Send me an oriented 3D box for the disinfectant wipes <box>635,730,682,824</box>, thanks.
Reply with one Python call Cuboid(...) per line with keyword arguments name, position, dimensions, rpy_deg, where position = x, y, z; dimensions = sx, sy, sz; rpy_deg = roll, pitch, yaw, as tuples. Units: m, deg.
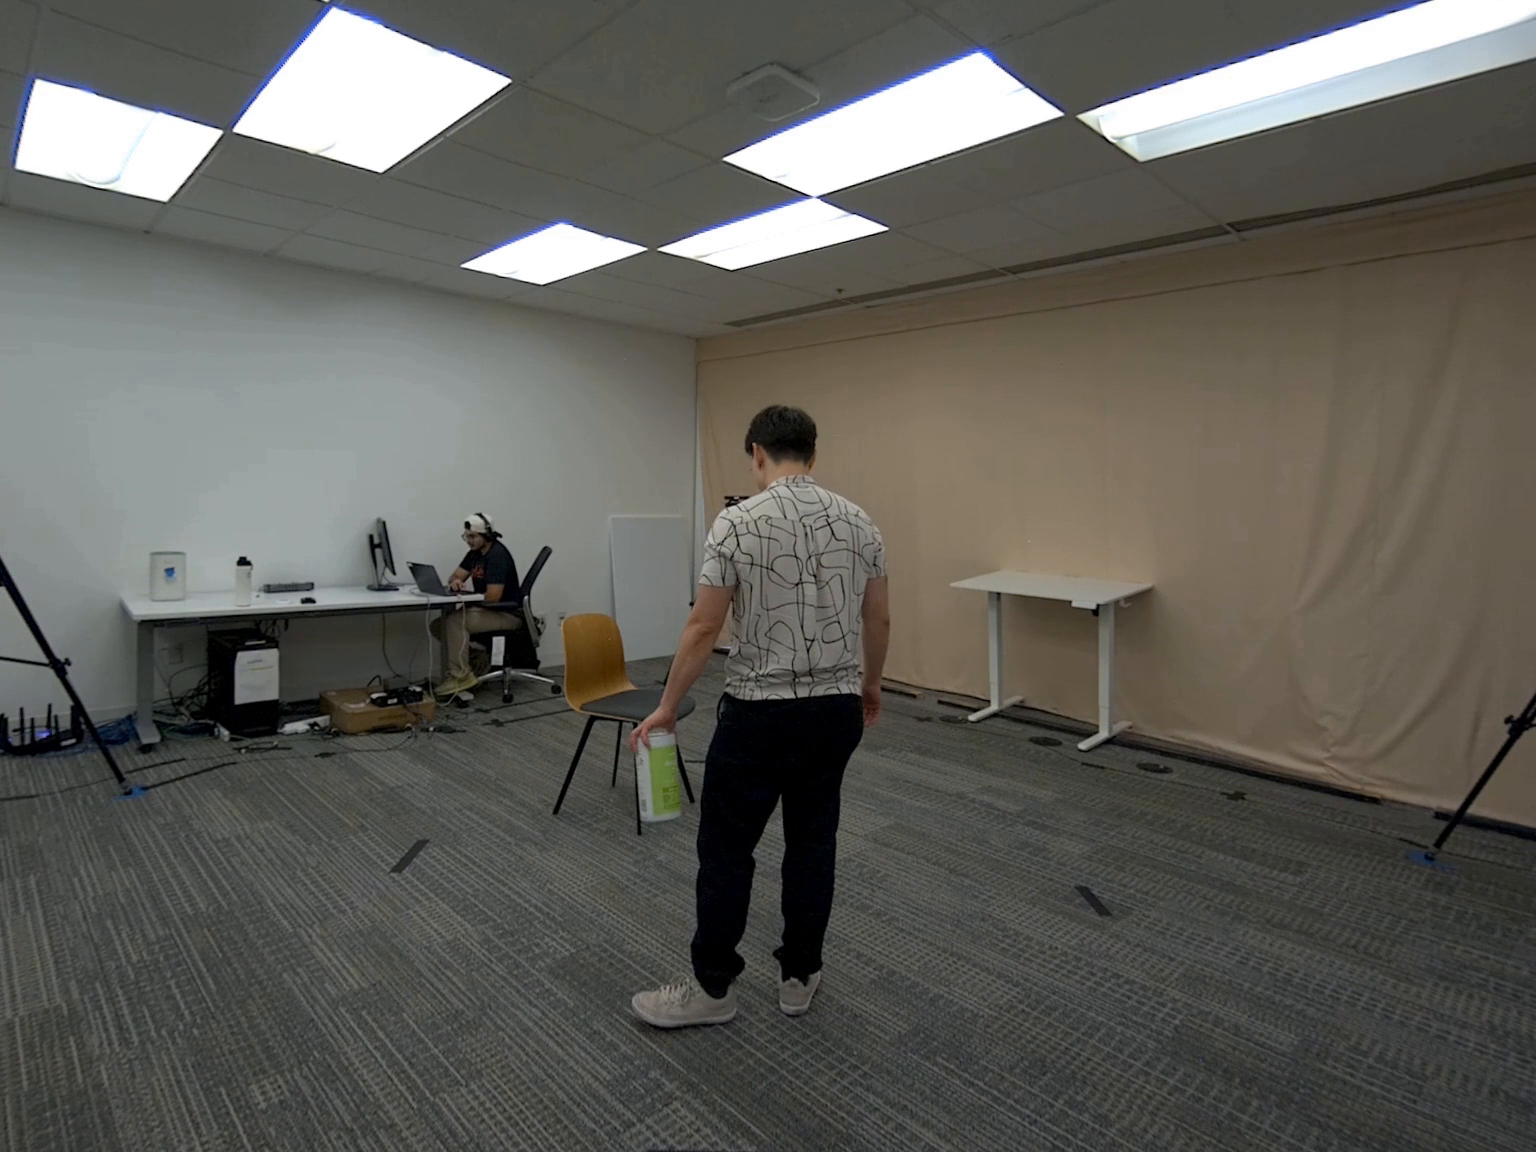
Cuboid(name="disinfectant wipes", position=(-0.294, 0.528, 2.222), dimensions=(0.117, 0.218, 0.117), rpy_deg=(-5, -5, -2))
